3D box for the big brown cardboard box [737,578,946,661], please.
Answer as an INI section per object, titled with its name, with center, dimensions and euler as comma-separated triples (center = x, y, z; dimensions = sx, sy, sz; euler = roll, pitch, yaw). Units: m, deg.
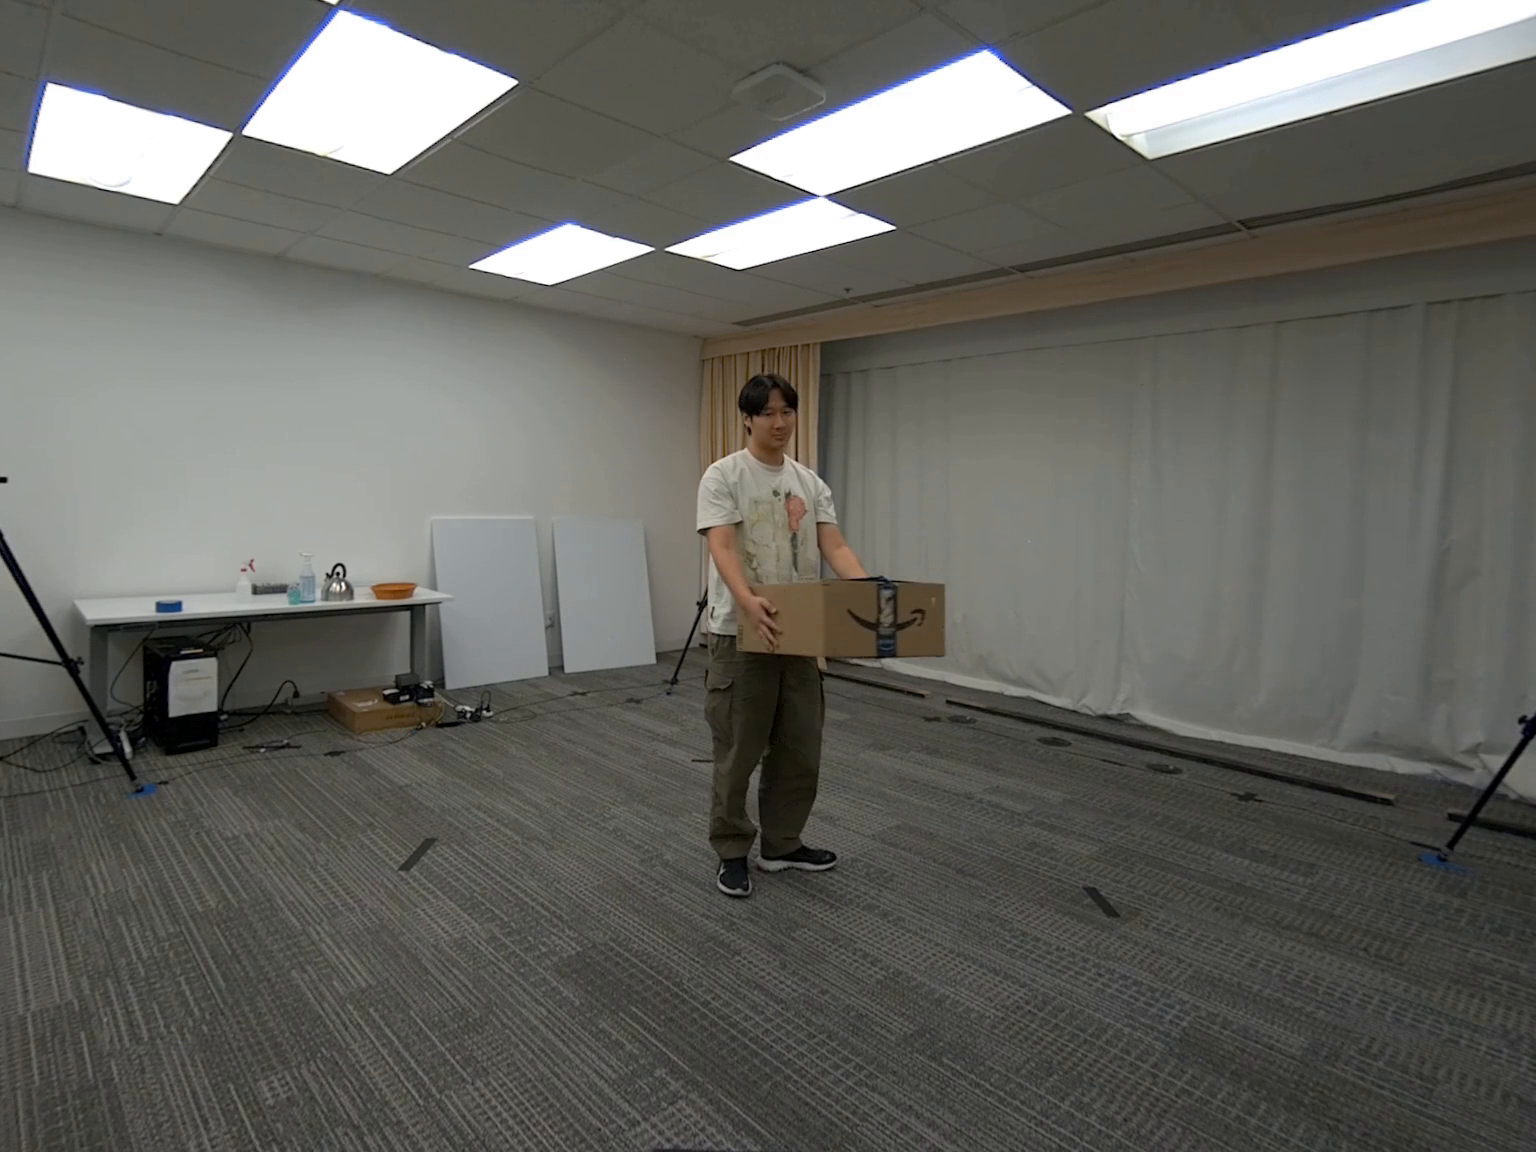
[big brown cardboard box]
center = 0.207, 0.139, 2.643
dimensions = 0.409, 0.234, 0.598
euler = 2, -4, -26
